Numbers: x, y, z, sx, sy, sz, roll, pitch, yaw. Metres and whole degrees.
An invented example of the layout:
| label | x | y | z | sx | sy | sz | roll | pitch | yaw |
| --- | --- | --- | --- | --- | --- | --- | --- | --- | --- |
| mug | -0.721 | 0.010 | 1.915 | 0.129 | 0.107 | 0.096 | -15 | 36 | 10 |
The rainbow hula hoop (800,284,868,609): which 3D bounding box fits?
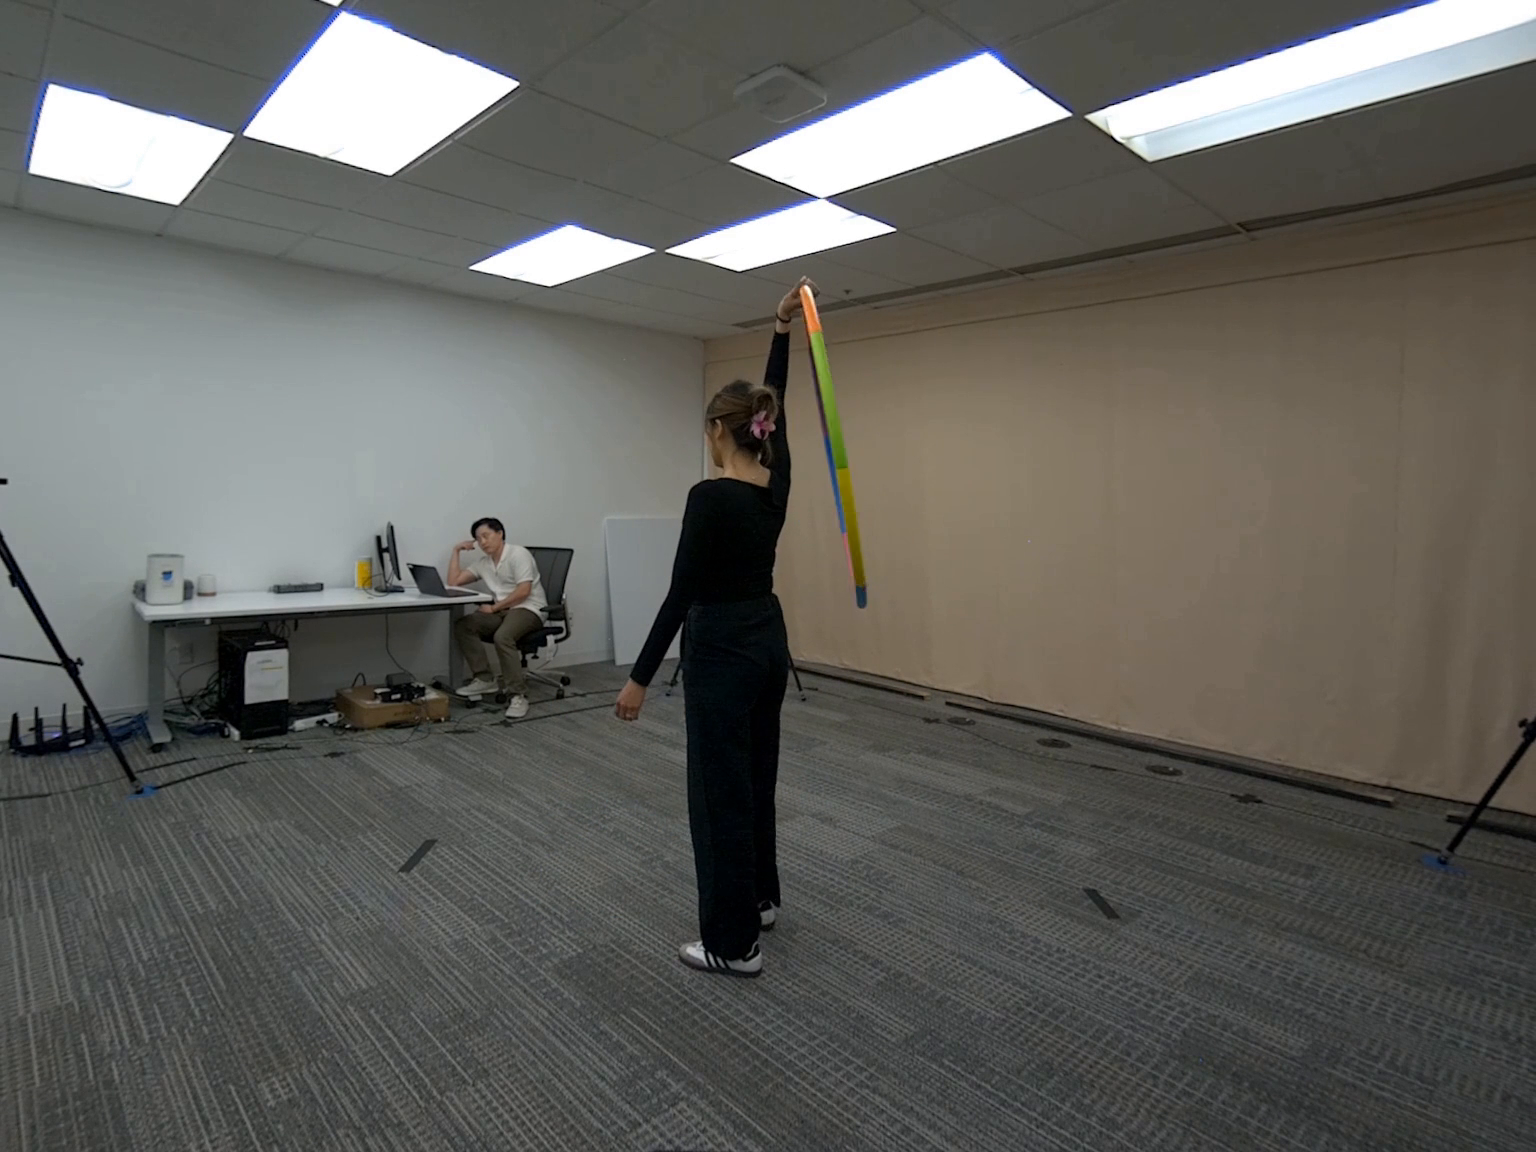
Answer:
| label | x | y | z | sx | sy | sz | roll | pitch | yaw |
| --- | --- | --- | --- | --- | --- | --- | --- | --- | --- |
| rainbow hula hoop | 0.187 | -0.387 | 2.602 | 0.052 | 0.983 | 0.984 | -9 | 3 | 5 |
